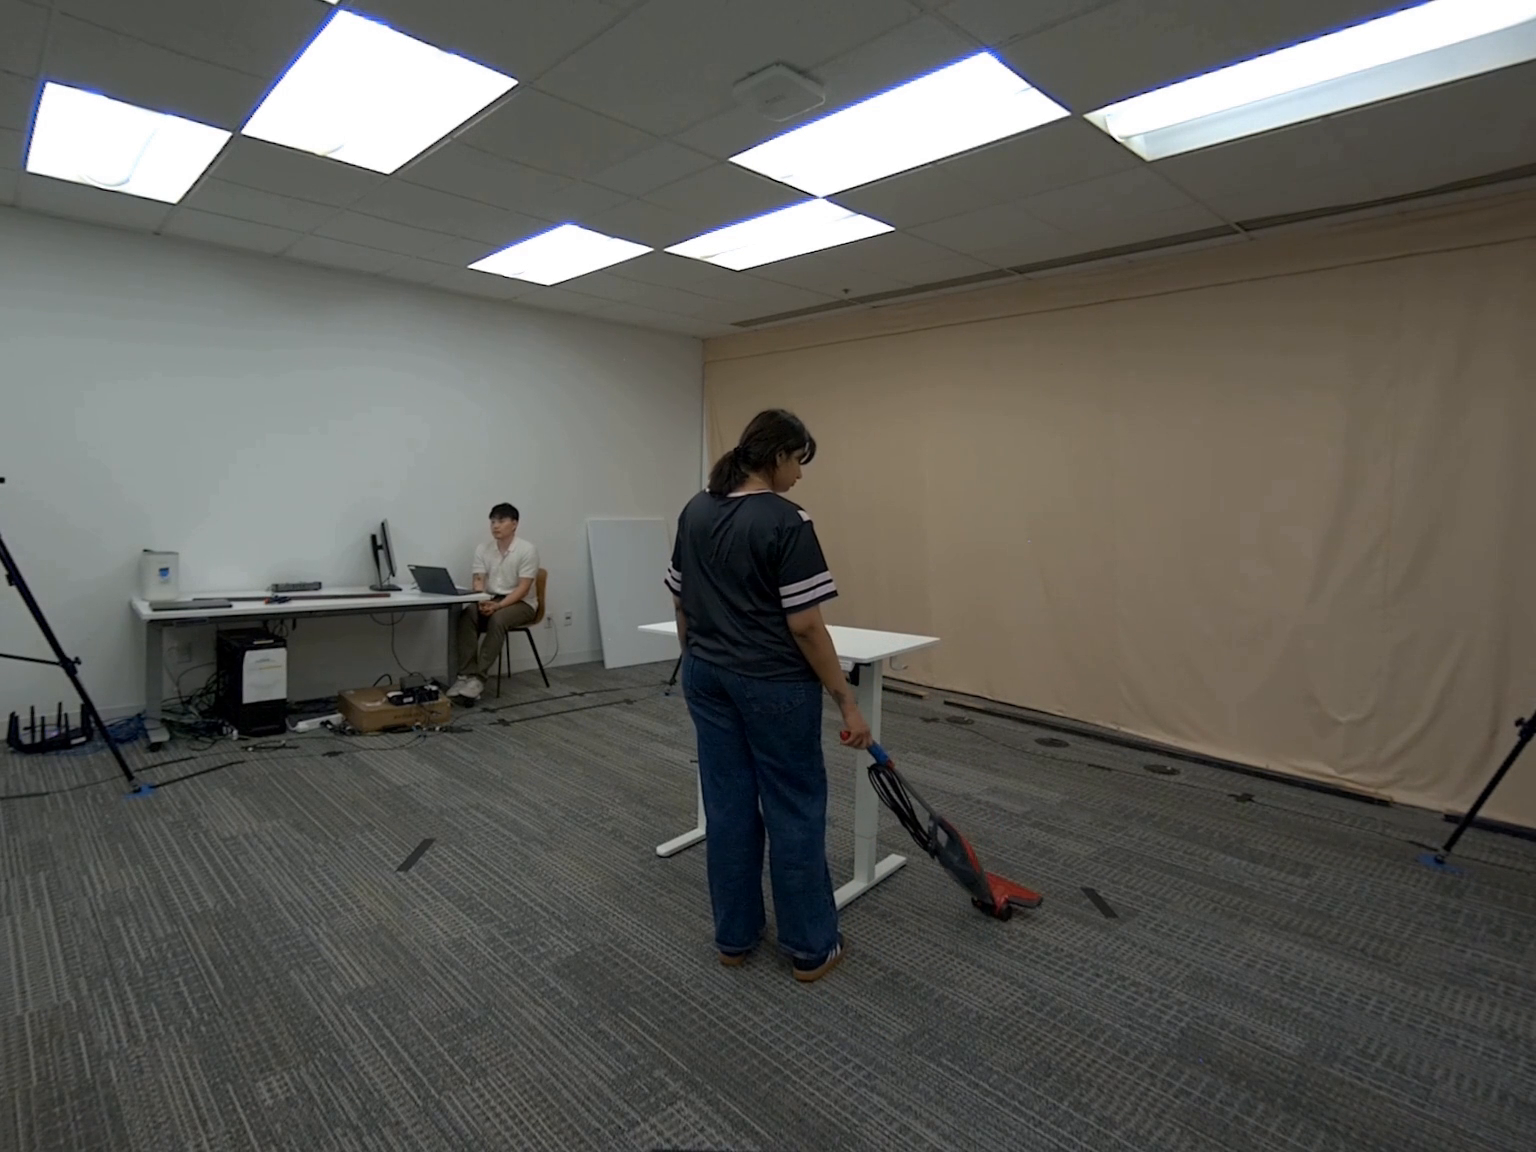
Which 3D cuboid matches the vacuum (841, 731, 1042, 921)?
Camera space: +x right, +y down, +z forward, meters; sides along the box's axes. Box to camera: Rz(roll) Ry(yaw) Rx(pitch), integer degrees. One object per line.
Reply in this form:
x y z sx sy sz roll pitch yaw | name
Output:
0.501 0.794 2.643 0.258 0.145 1.020 -2 -41 48 | vacuum
